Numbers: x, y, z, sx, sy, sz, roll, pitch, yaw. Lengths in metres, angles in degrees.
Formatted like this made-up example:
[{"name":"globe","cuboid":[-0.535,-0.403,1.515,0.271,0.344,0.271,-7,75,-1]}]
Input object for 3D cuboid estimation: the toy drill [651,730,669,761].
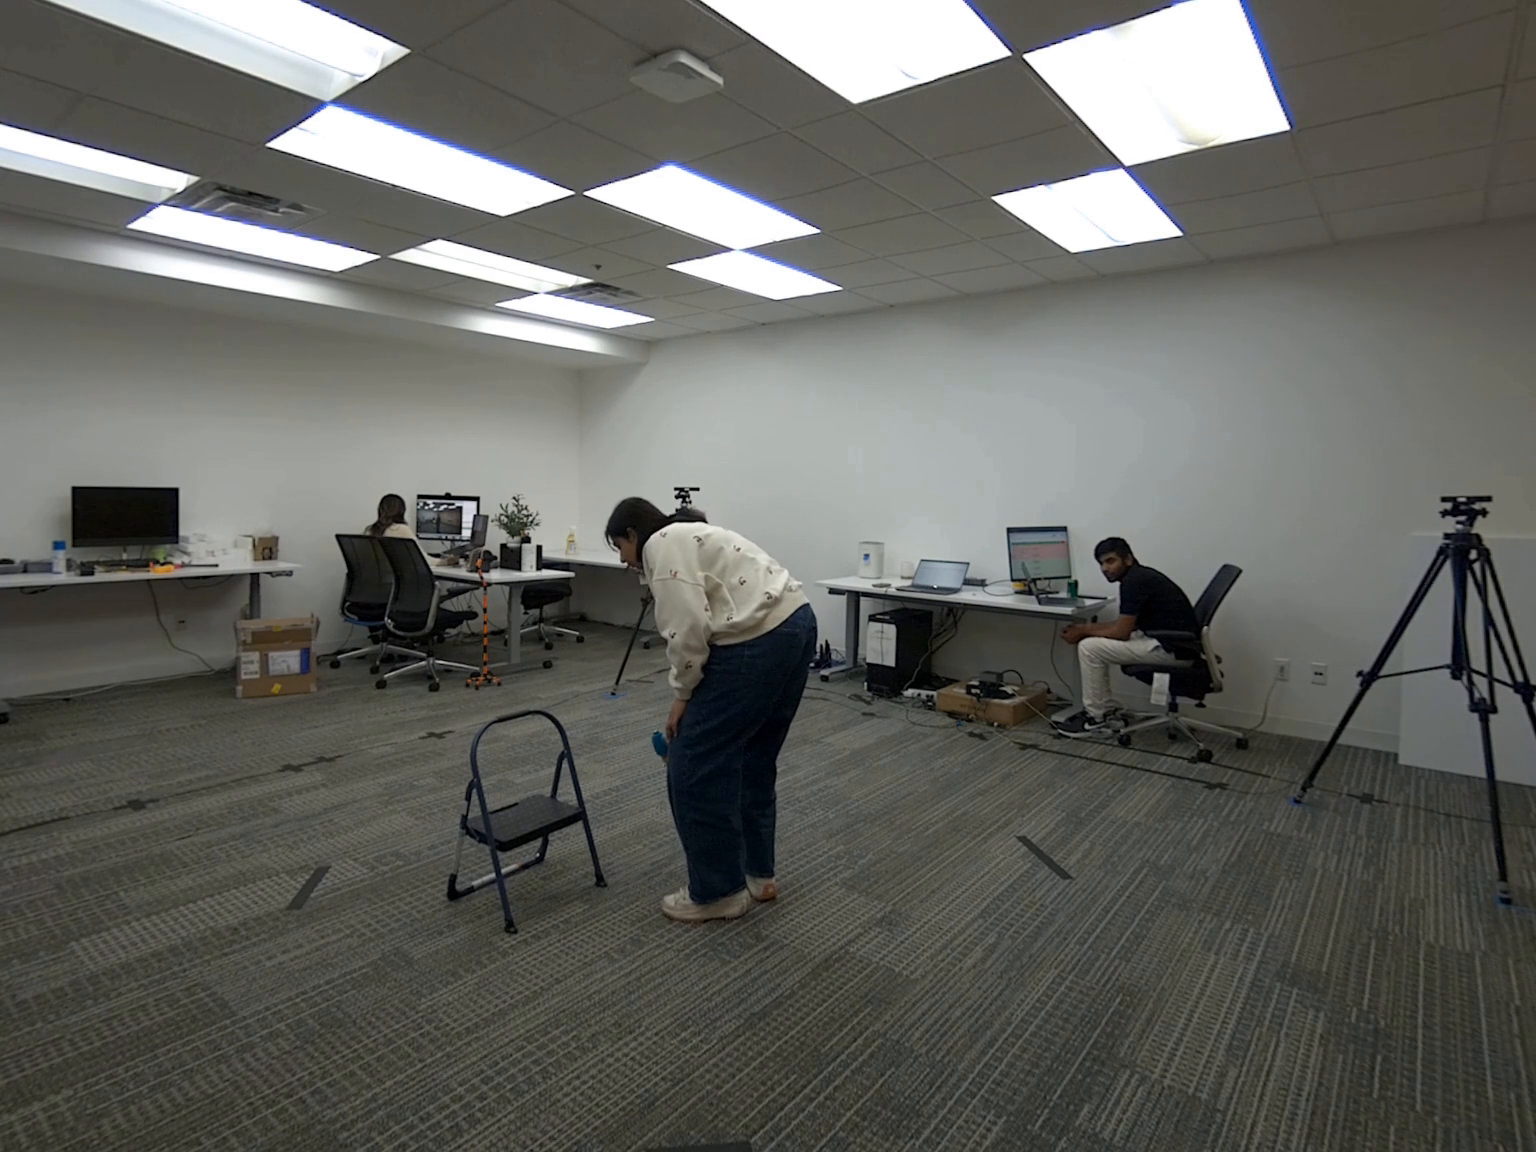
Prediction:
[{"name":"toy drill","cuboid":[-0.382,0.652,3.150,0.060,0.166,0.152,-22,27,-28]}]
